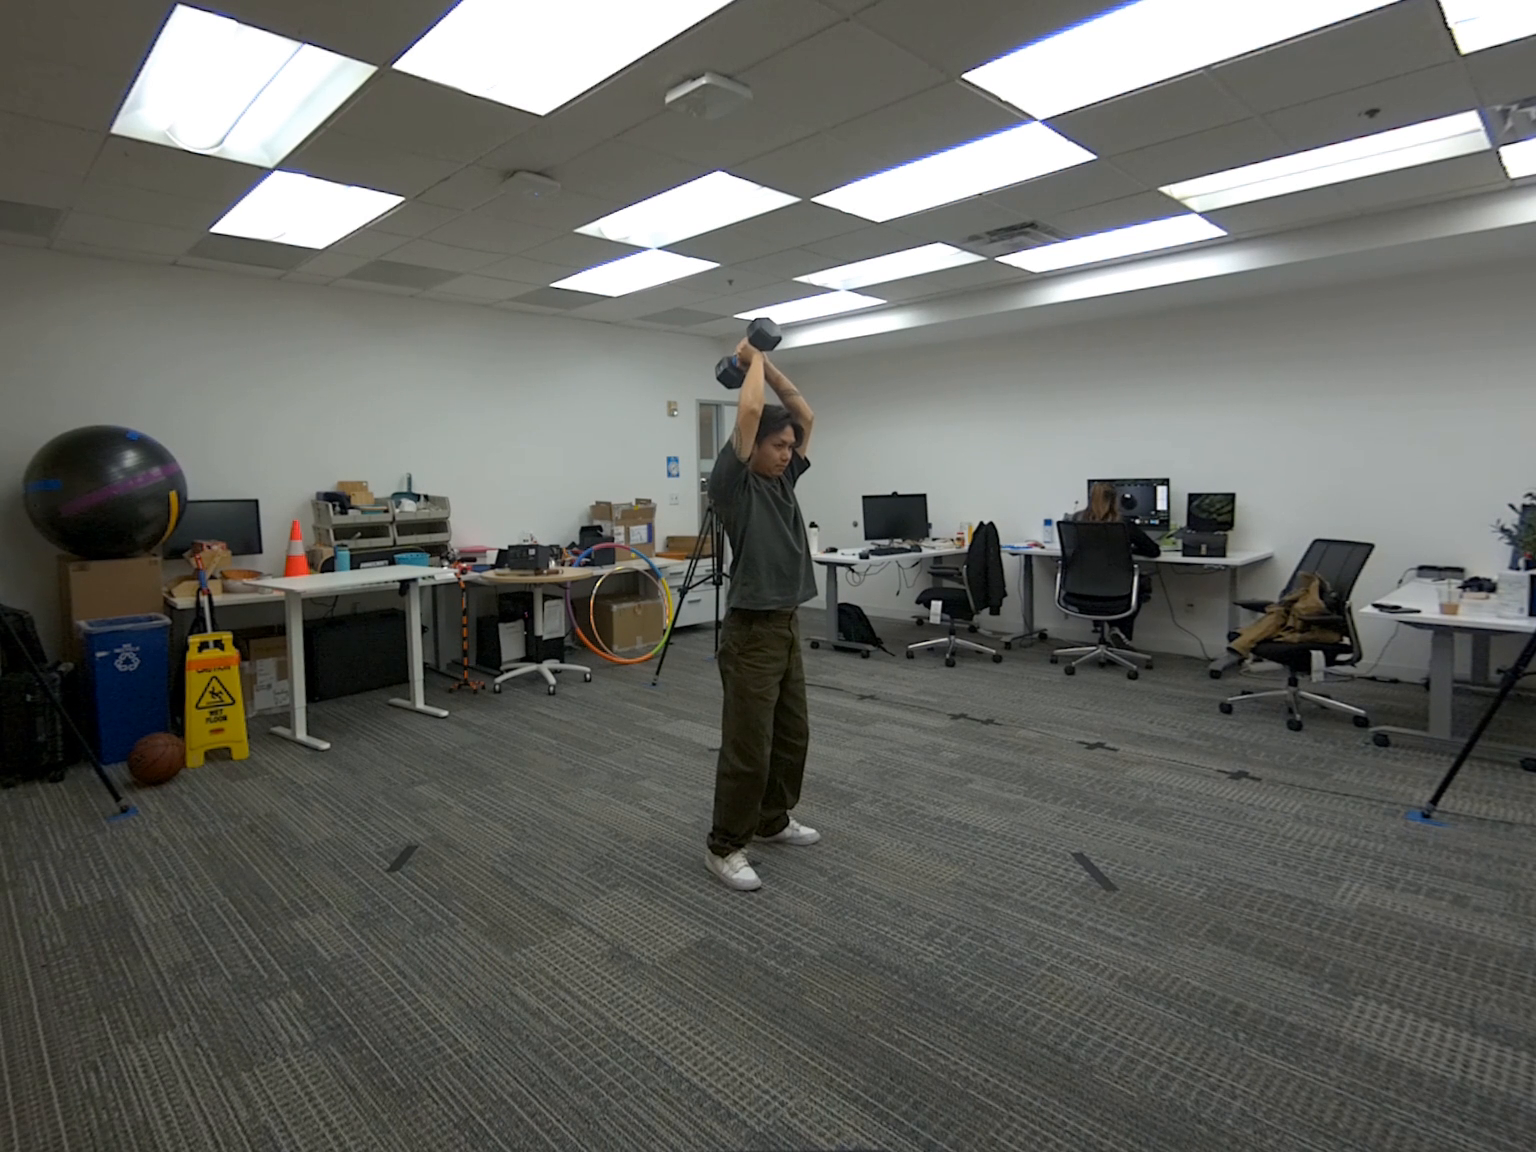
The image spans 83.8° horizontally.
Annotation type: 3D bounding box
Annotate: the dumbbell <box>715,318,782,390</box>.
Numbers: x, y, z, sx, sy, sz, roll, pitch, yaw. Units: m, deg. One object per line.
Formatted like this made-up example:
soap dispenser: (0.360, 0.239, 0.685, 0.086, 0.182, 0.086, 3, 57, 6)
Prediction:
dumbbell: (-0.064, -0.805, 3.082, 0.105, 0.126, 0.294, 19, -40, -29)
